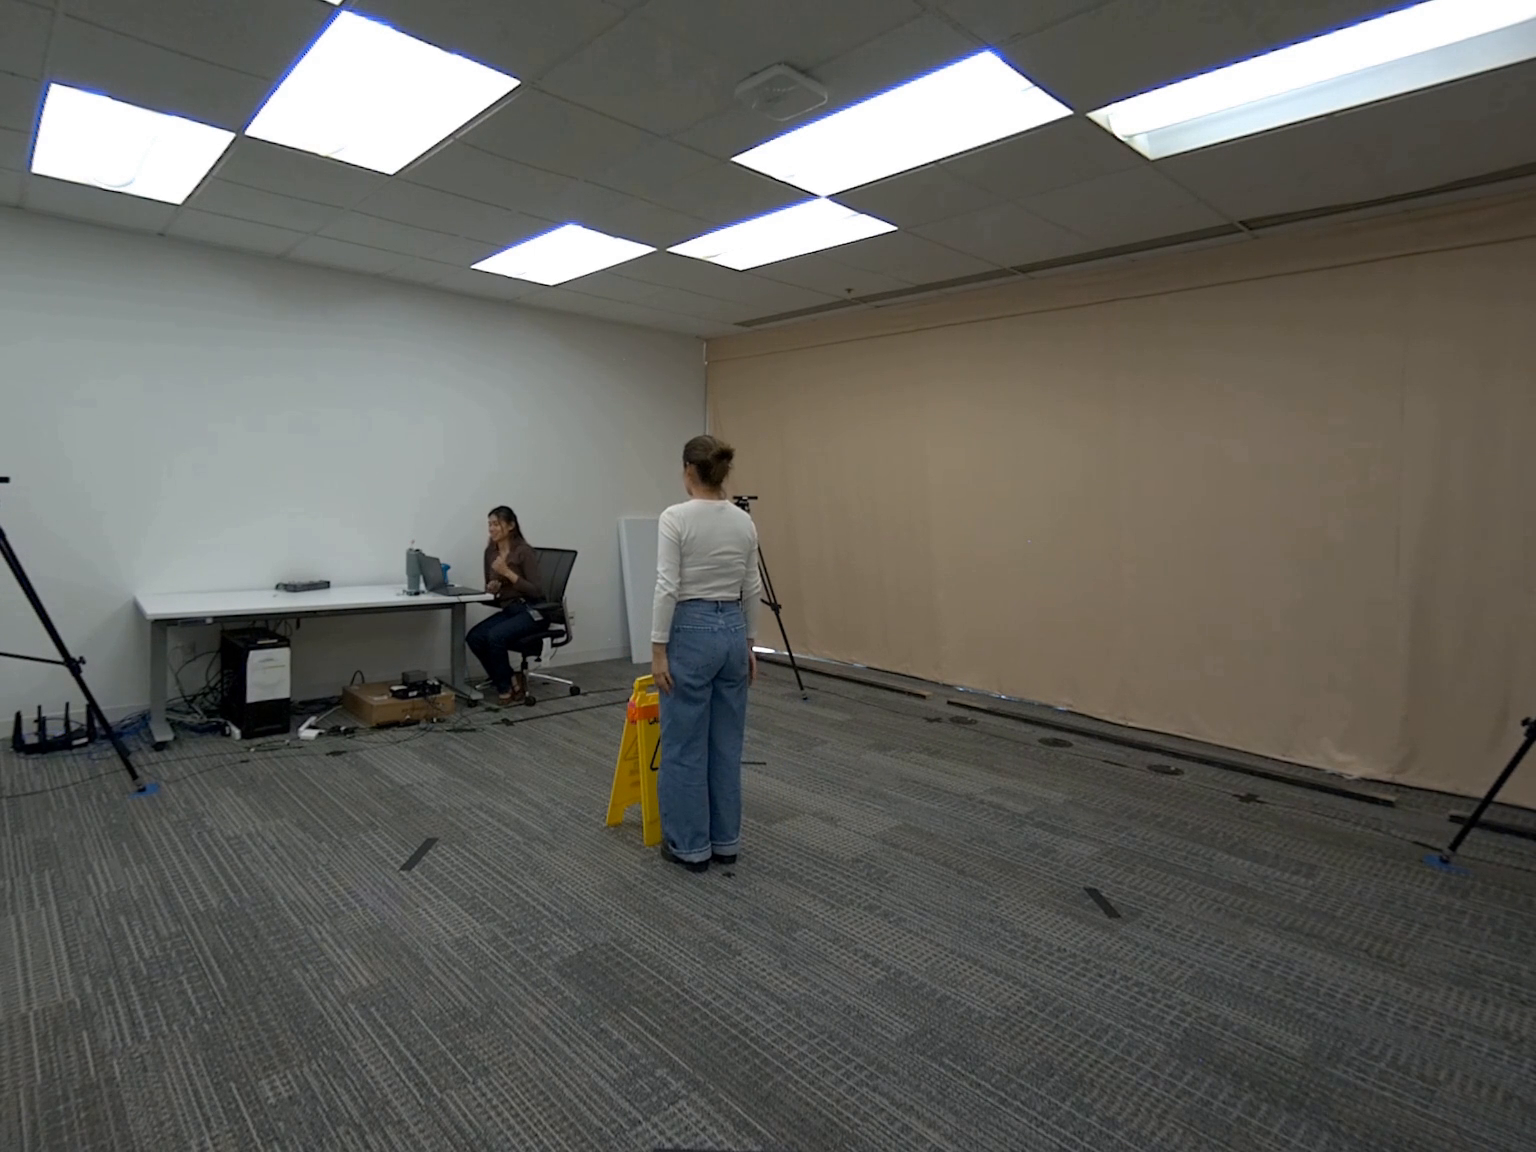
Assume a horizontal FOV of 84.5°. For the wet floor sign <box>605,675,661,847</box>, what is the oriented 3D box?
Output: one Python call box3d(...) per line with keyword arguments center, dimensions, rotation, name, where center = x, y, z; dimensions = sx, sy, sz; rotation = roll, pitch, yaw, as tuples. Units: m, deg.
box3d(center=(-0.485, 0.734, 3.511), dimensions=(0.275, 0.645, 0.297), rotation=(0, 2, -44), name="wet floor sign")
